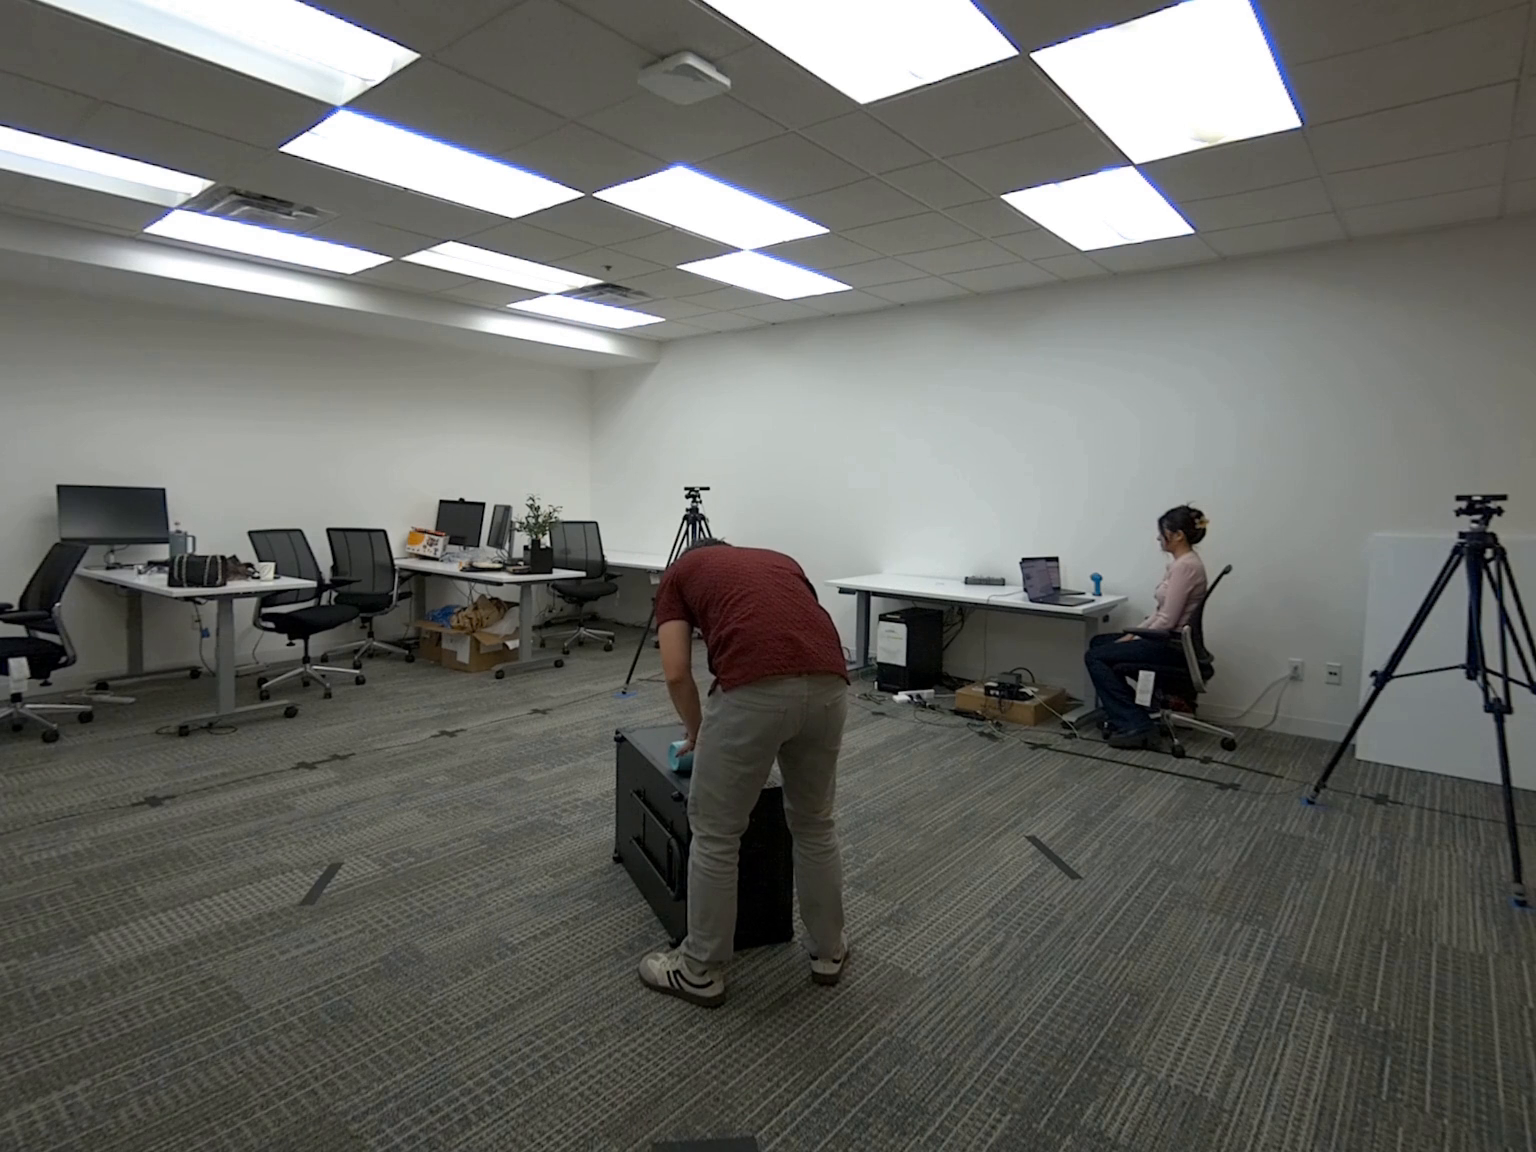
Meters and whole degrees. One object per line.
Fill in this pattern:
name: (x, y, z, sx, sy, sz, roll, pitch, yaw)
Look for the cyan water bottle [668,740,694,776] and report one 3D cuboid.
cyan water bottle: (-0.195, 0.562, 2.786, 0.276, 0.092, 0.095, -3, 5, -29)
